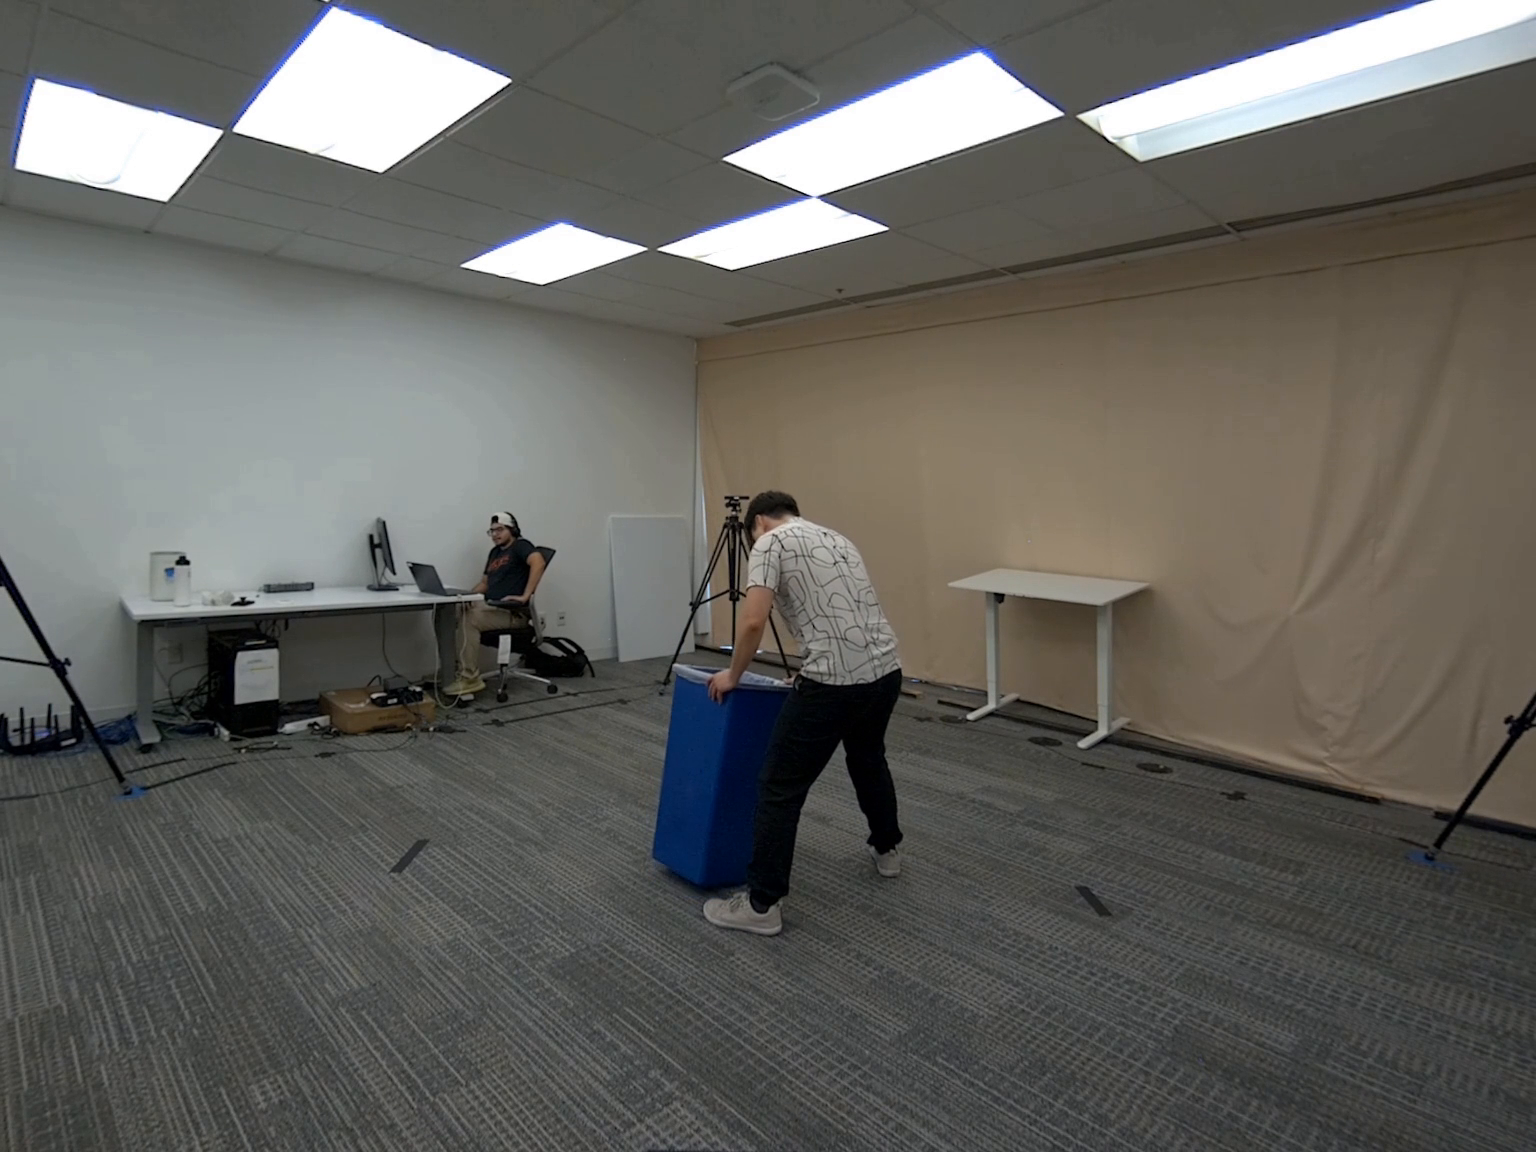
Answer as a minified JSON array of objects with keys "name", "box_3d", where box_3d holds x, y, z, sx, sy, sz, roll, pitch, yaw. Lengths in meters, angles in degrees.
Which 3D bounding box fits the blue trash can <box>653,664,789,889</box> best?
[{"name":"blue trash can","box_3d":[-0.182,0.723,3.122,0.368,0.715,0.384,12,-4,-42]}]
